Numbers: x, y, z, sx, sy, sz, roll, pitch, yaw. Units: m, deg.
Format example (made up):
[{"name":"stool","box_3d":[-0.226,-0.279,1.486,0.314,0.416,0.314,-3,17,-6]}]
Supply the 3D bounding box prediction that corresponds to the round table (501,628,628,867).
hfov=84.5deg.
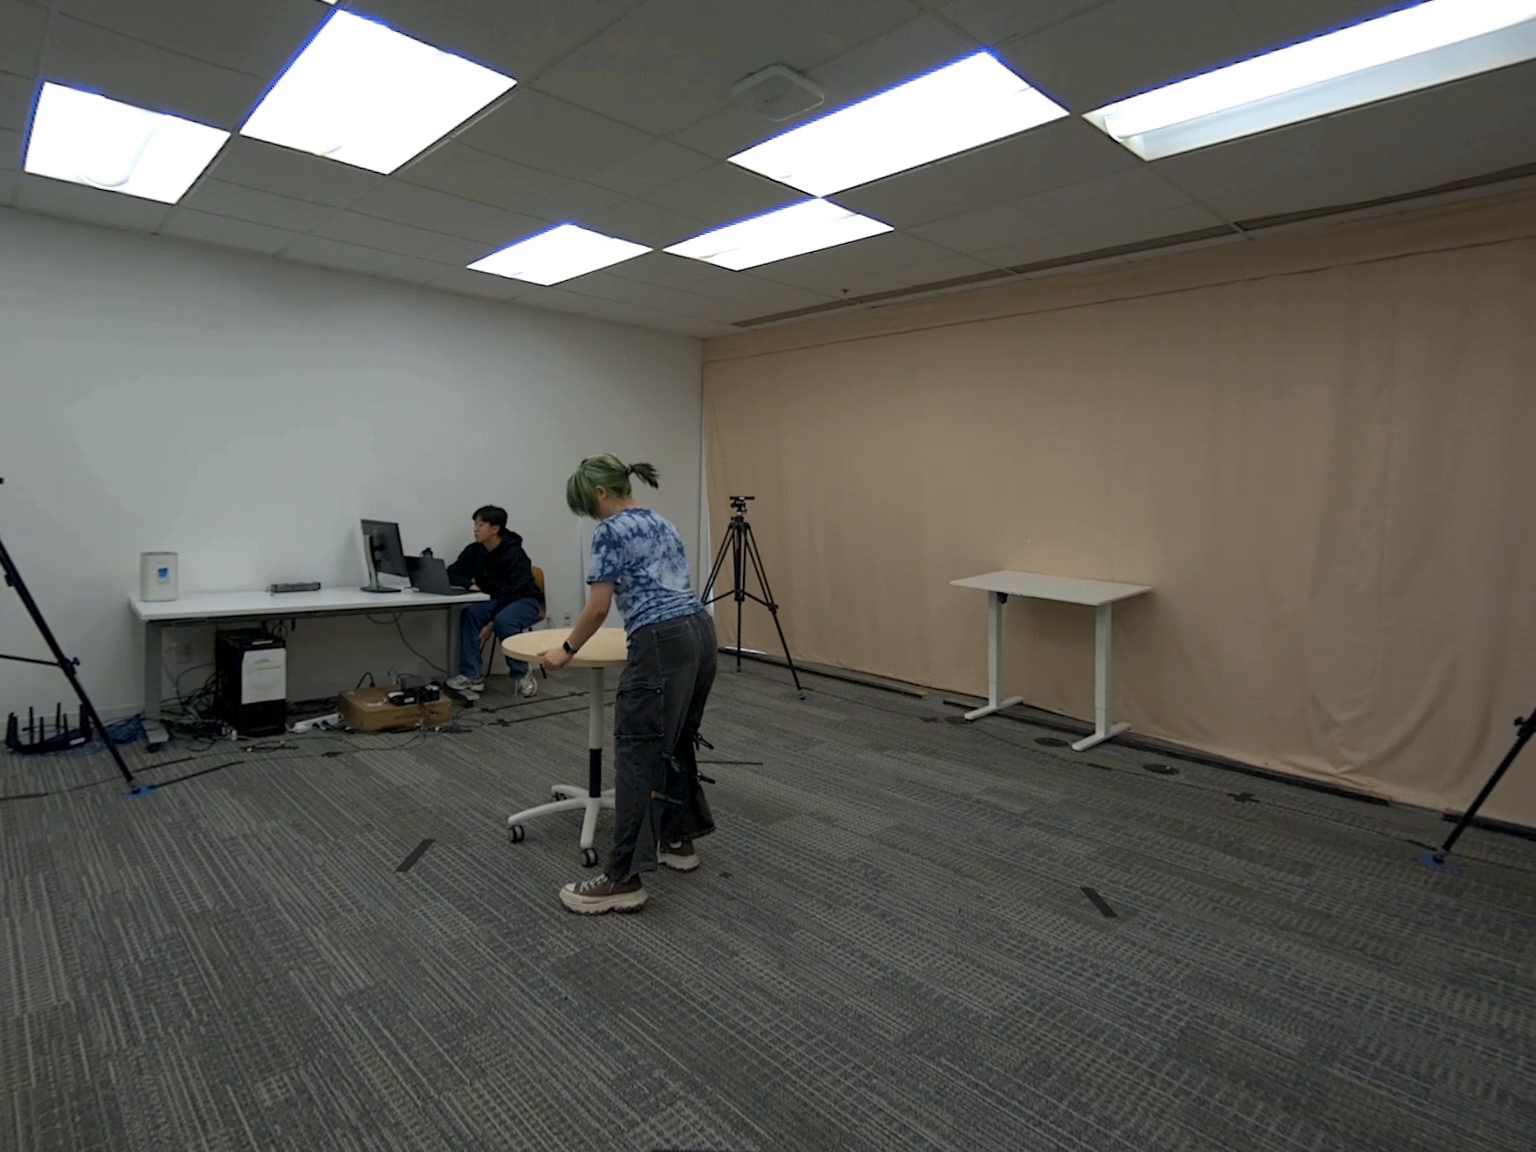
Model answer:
[{"name":"round table","box_3d":[-0.725,0.669,3.491,0.763,0.792,0.766,1,4,-1]}]
